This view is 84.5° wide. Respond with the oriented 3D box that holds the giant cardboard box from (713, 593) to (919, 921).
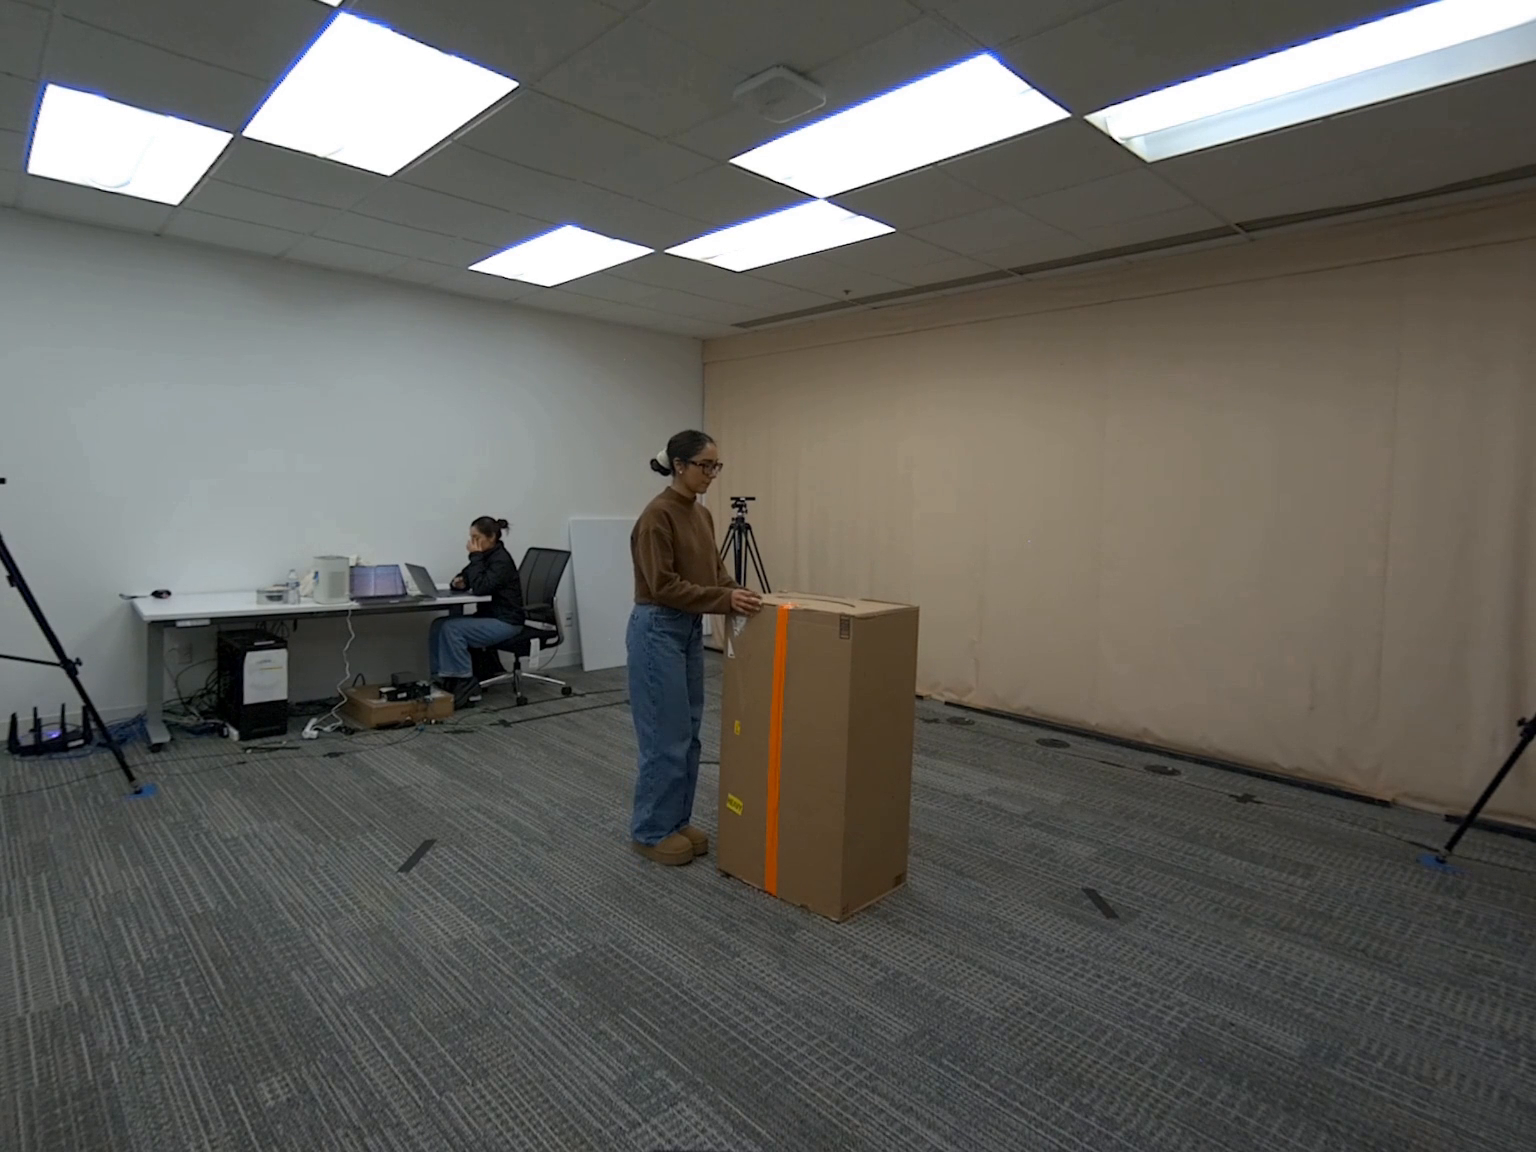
[{"bbox_3d":[0.170,0.606,3.087,0.592,1.024,0.416,4,4,43],"label":"giant cardboard box"}]
